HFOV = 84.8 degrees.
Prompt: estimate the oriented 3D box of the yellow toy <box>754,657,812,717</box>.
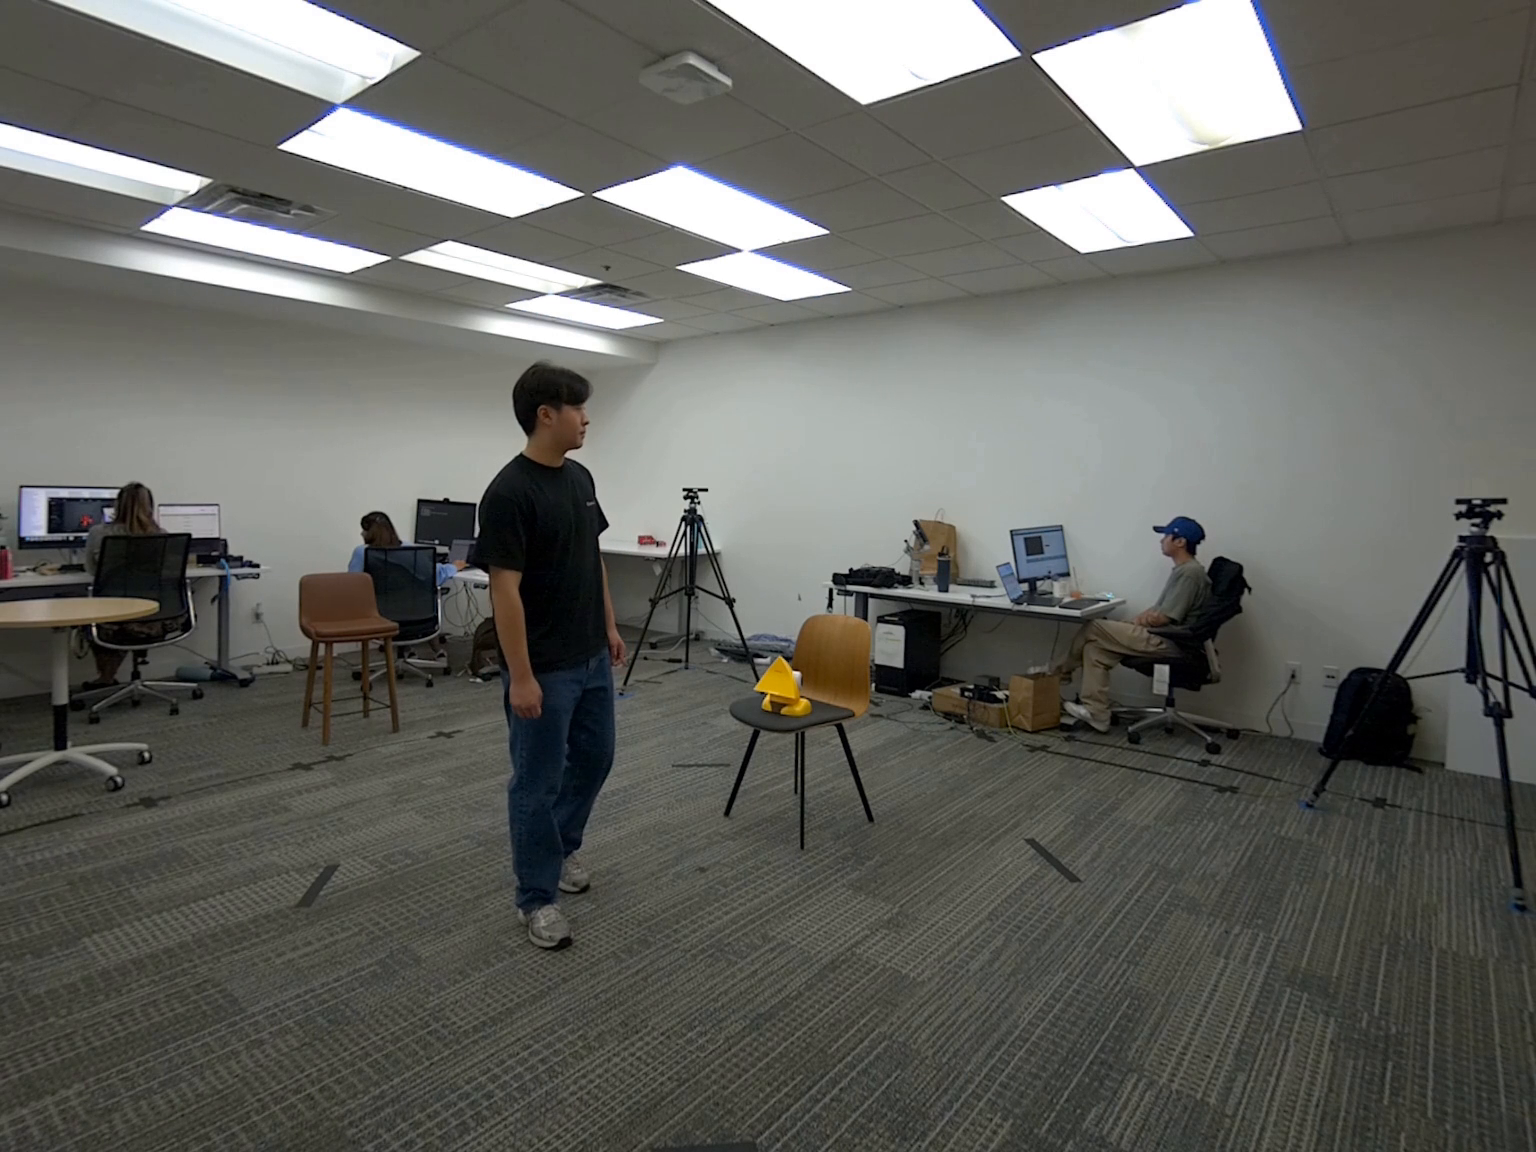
[{"bbox_3d":[0.072,0.438,3.529,0.211,0.230,0.187,5,3,37],"label":"yellow toy"}]
